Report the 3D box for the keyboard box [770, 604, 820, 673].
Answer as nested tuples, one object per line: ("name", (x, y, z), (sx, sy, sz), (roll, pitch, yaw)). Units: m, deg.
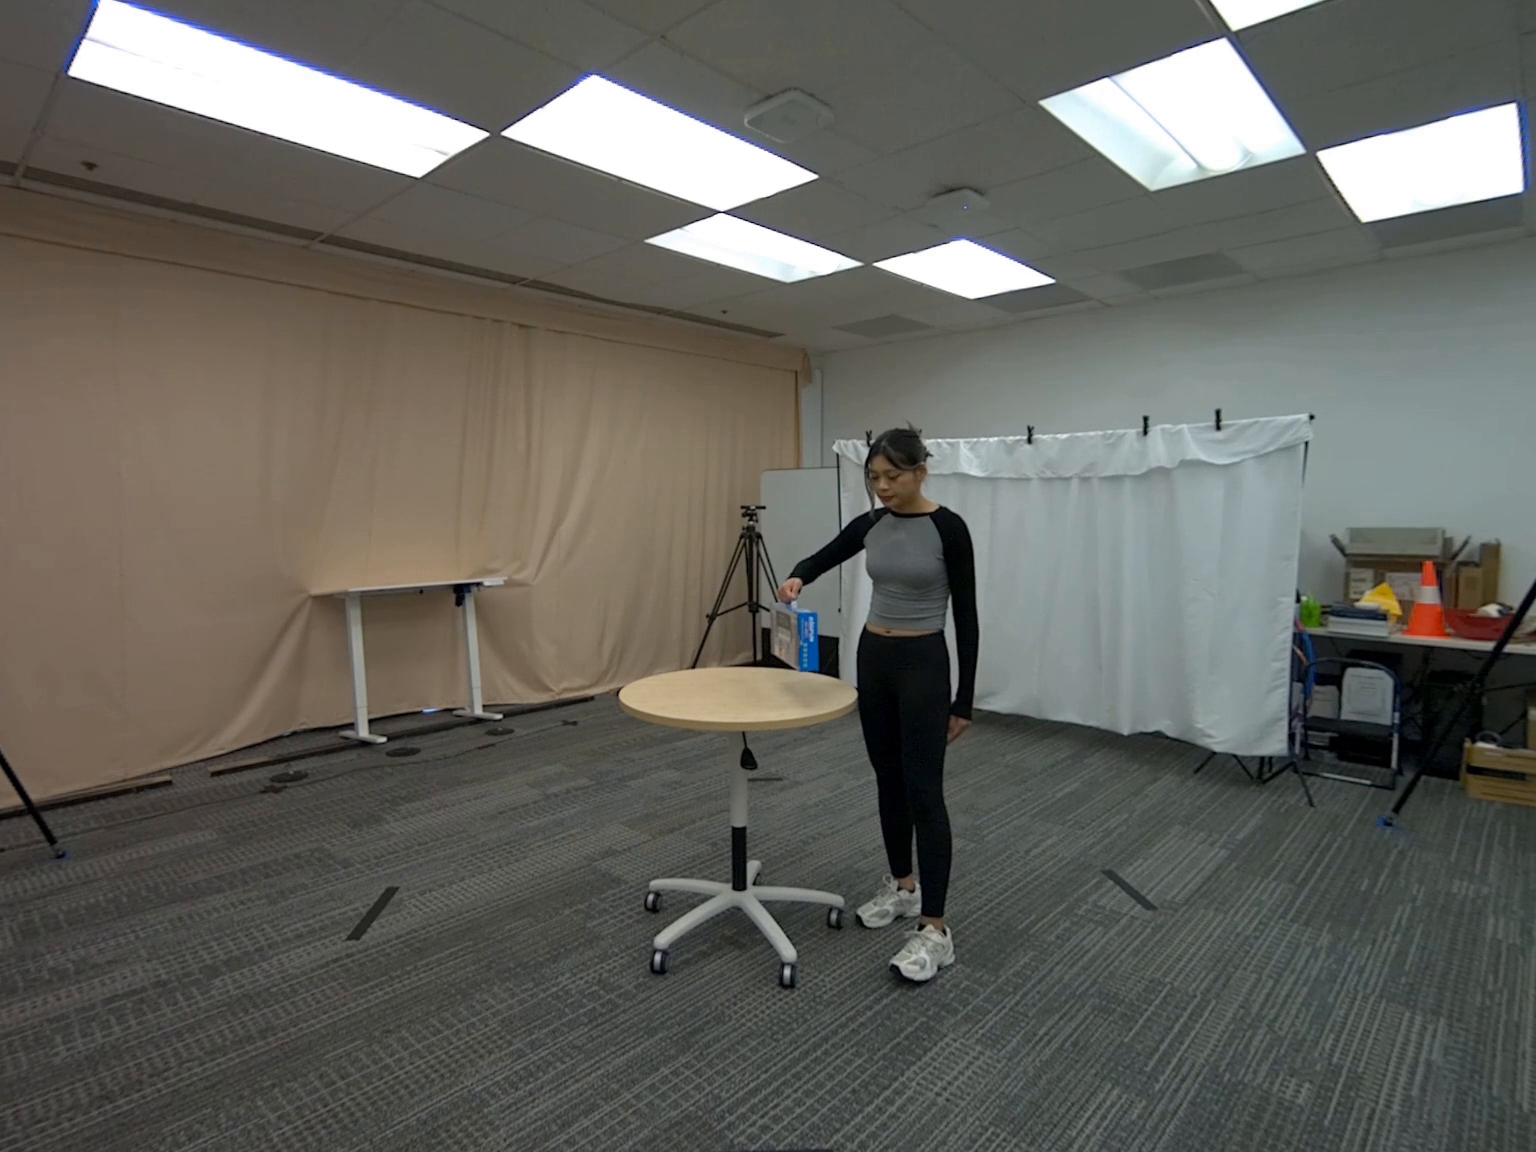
("keyboard box", (0.081, 0.187, 2.650), (0.058, 0.176, 0.441), (-1, 2, -11))
